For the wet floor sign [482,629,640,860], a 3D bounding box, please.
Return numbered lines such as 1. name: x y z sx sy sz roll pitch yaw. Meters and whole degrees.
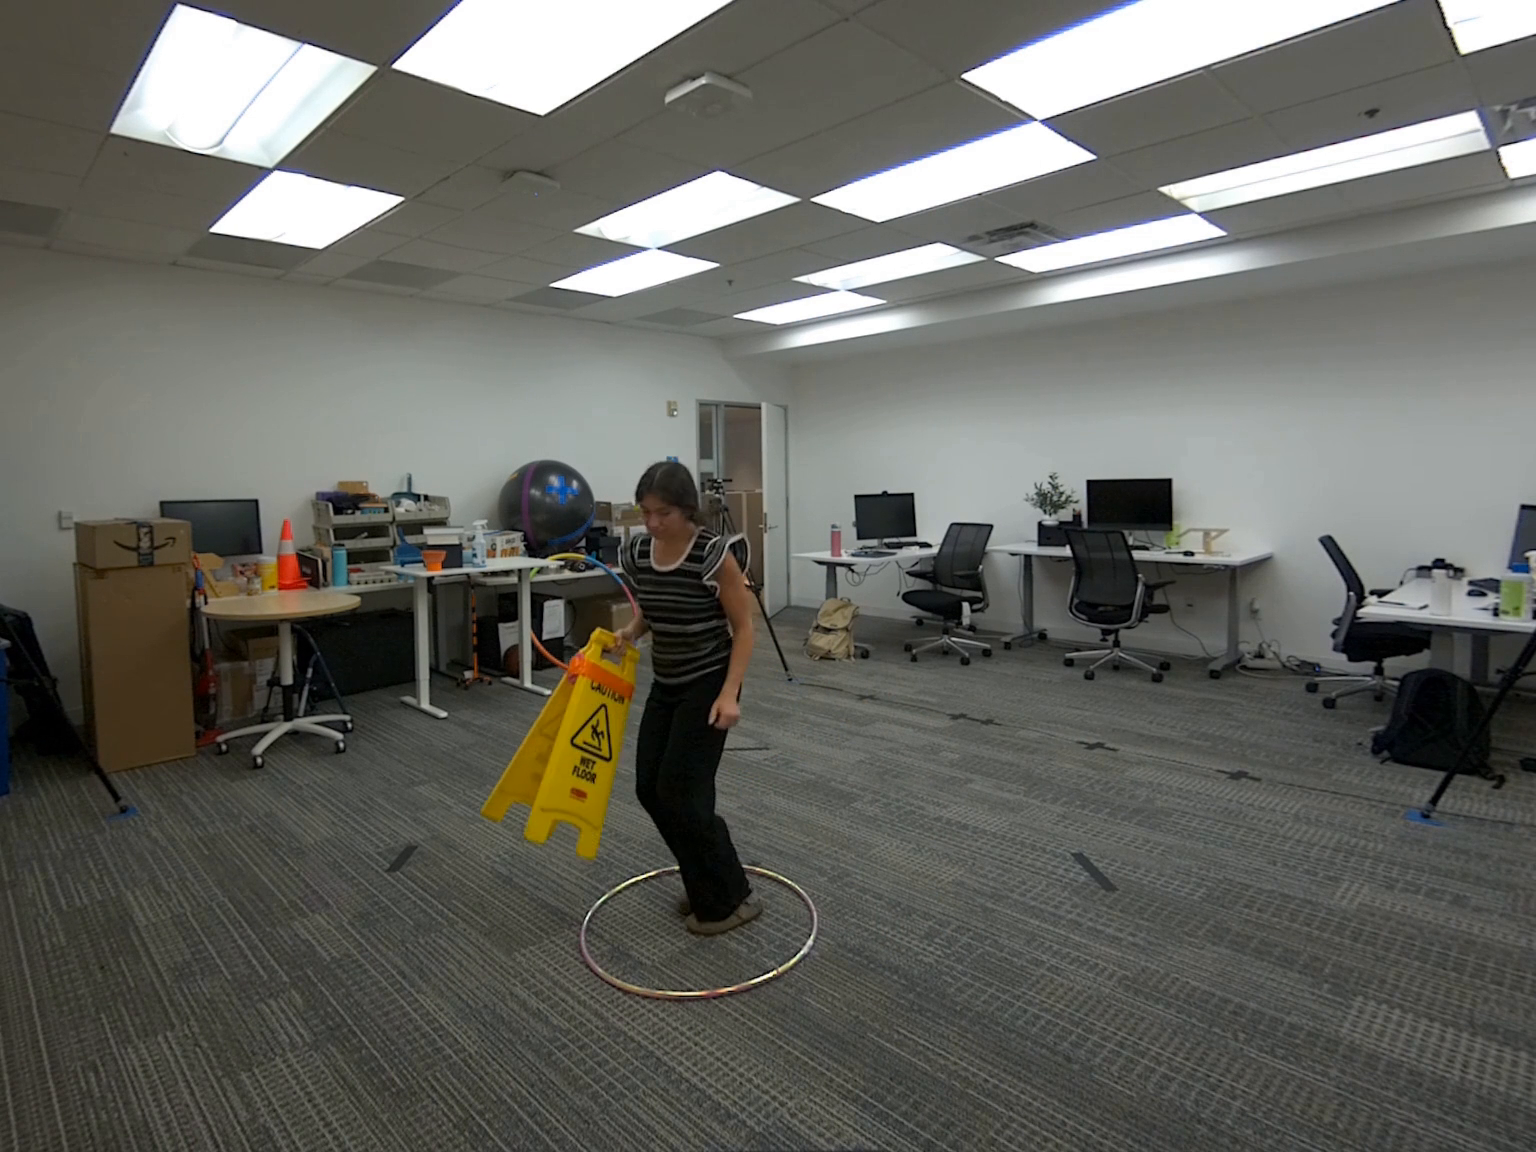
1. wet floor sign: -0.568 0.471 2.684 0.298 0.652 0.271 2 -25 44
